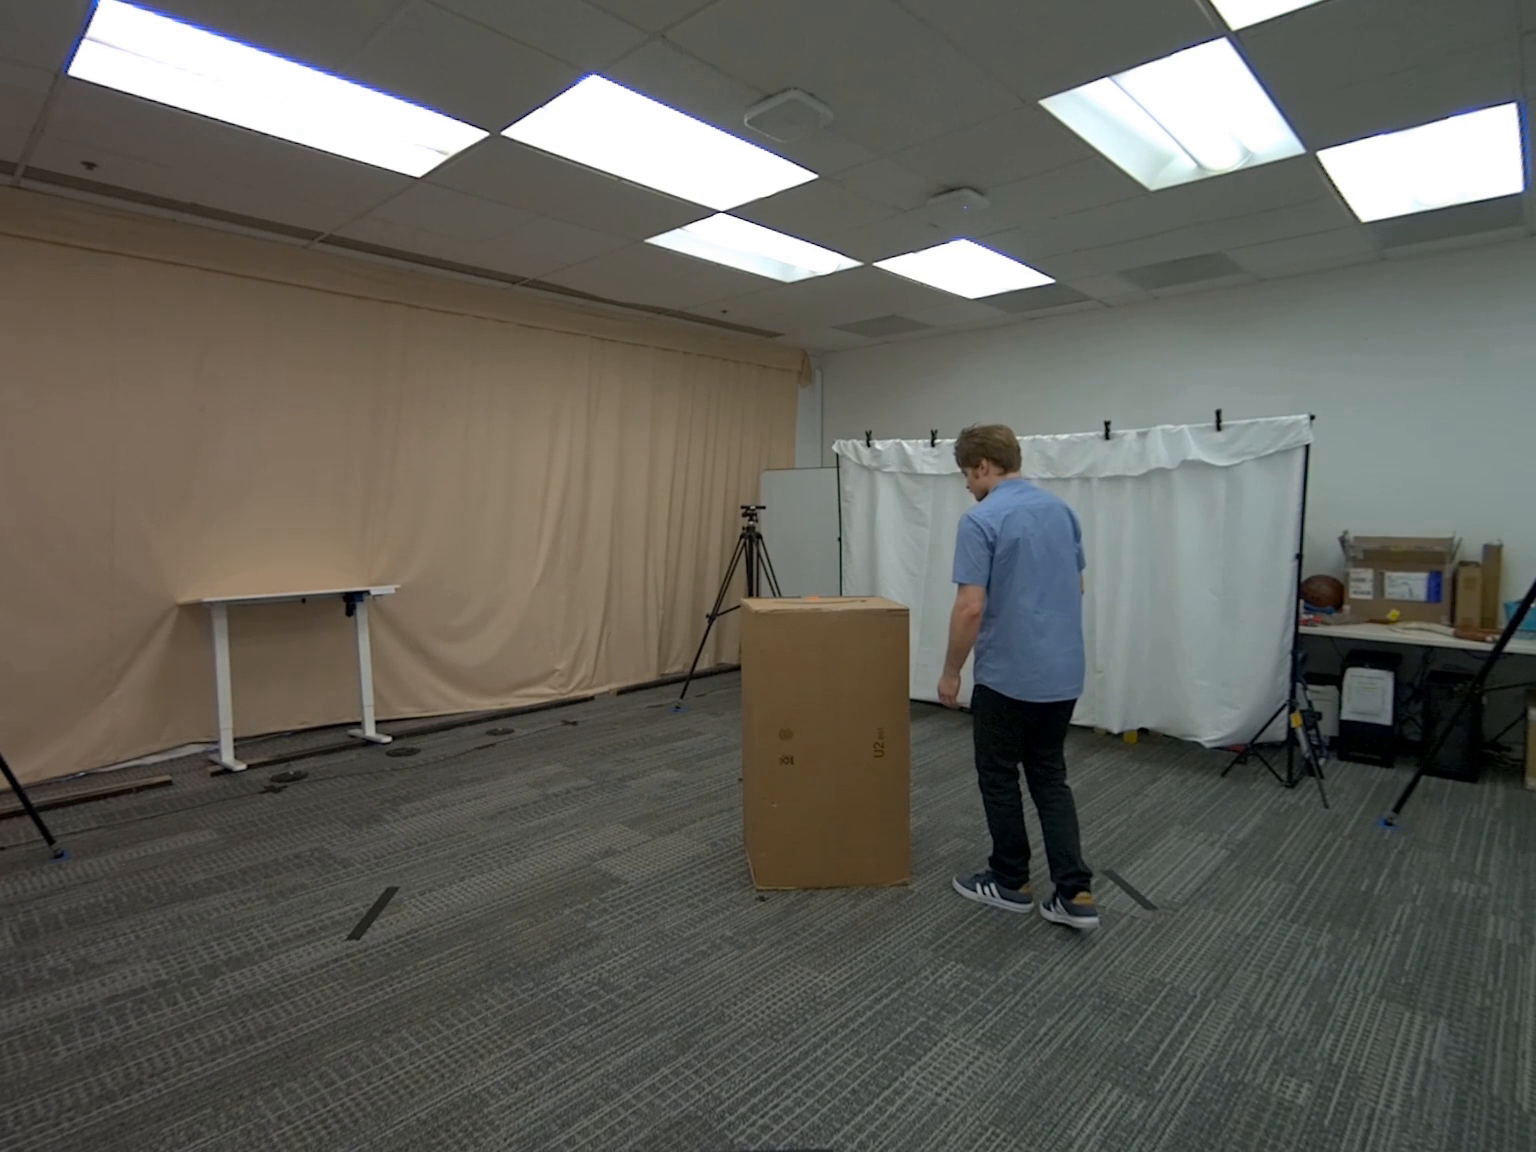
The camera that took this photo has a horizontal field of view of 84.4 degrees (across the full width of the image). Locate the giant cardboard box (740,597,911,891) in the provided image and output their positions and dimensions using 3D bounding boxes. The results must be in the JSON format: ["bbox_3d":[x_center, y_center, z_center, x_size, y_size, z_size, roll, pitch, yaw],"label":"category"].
[{"bbox_3d":[0.210,0.610,3.255,0.575,1.024,0.429,-1,3,-5],"label":"giant cardboard box"}]
